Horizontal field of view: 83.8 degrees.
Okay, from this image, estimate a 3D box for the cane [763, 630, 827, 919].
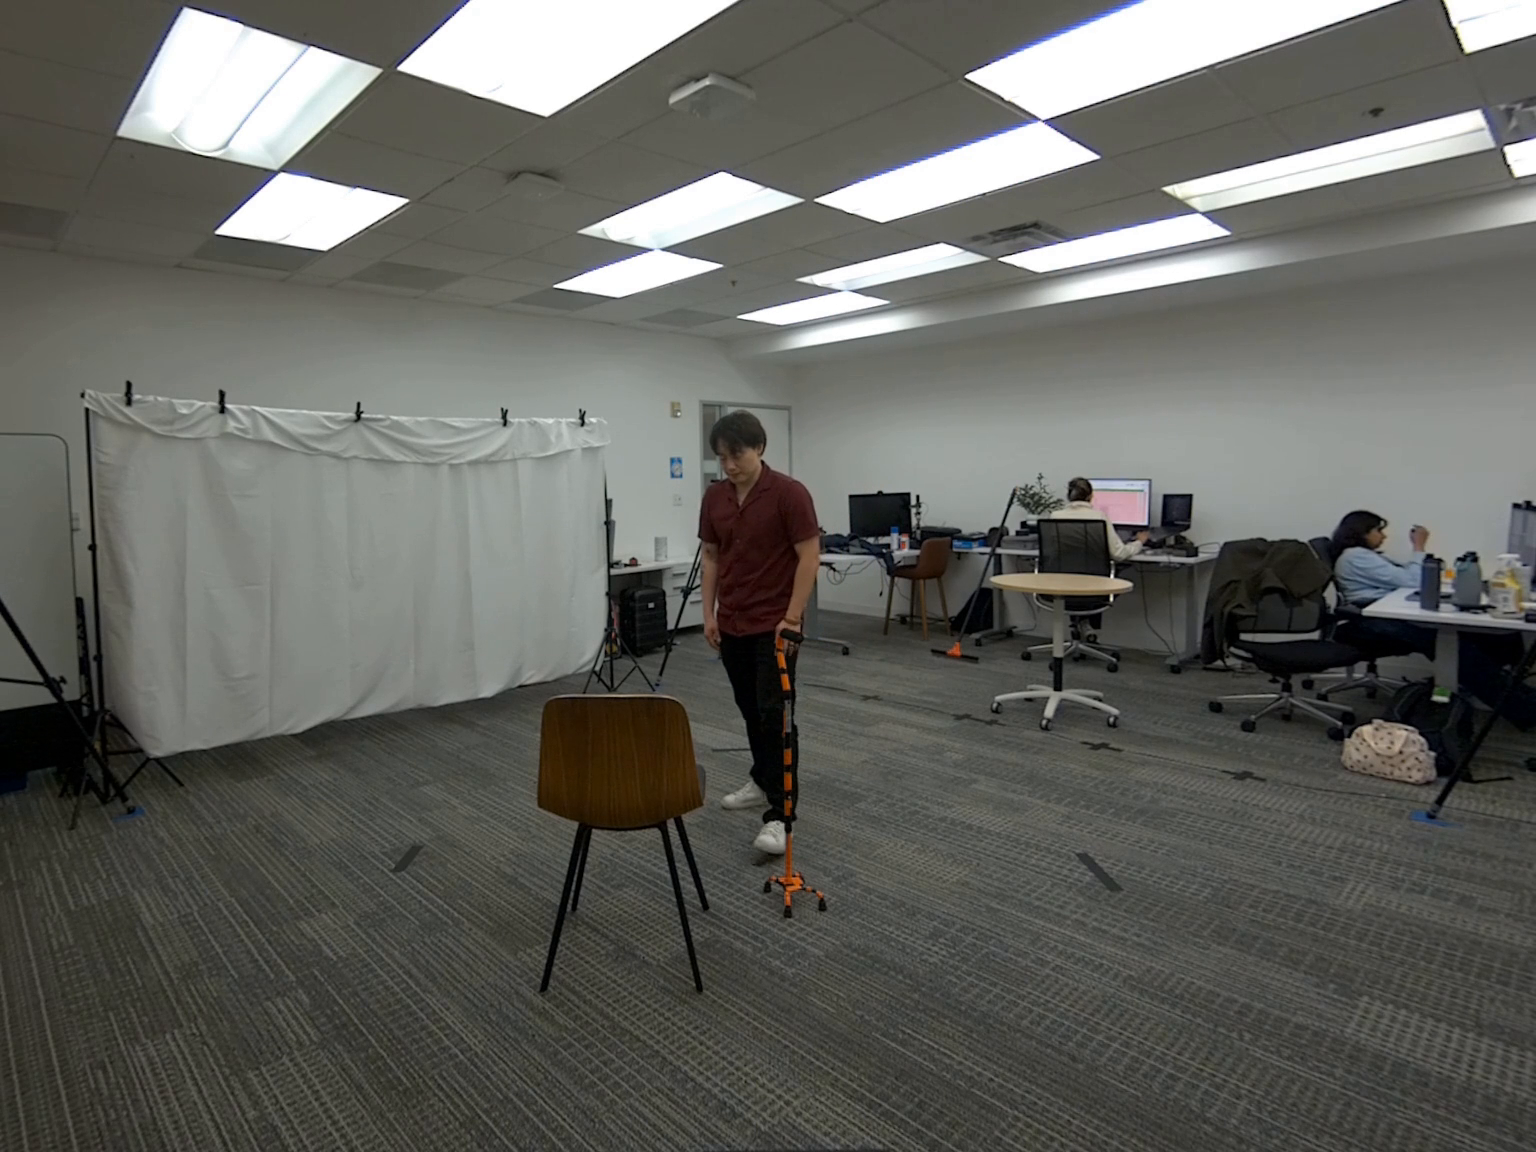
[{"bbox_3d":[0.080,0.623,2.801,0.149,0.905,0.211,-3,4,-22],"label":"cane"}]
